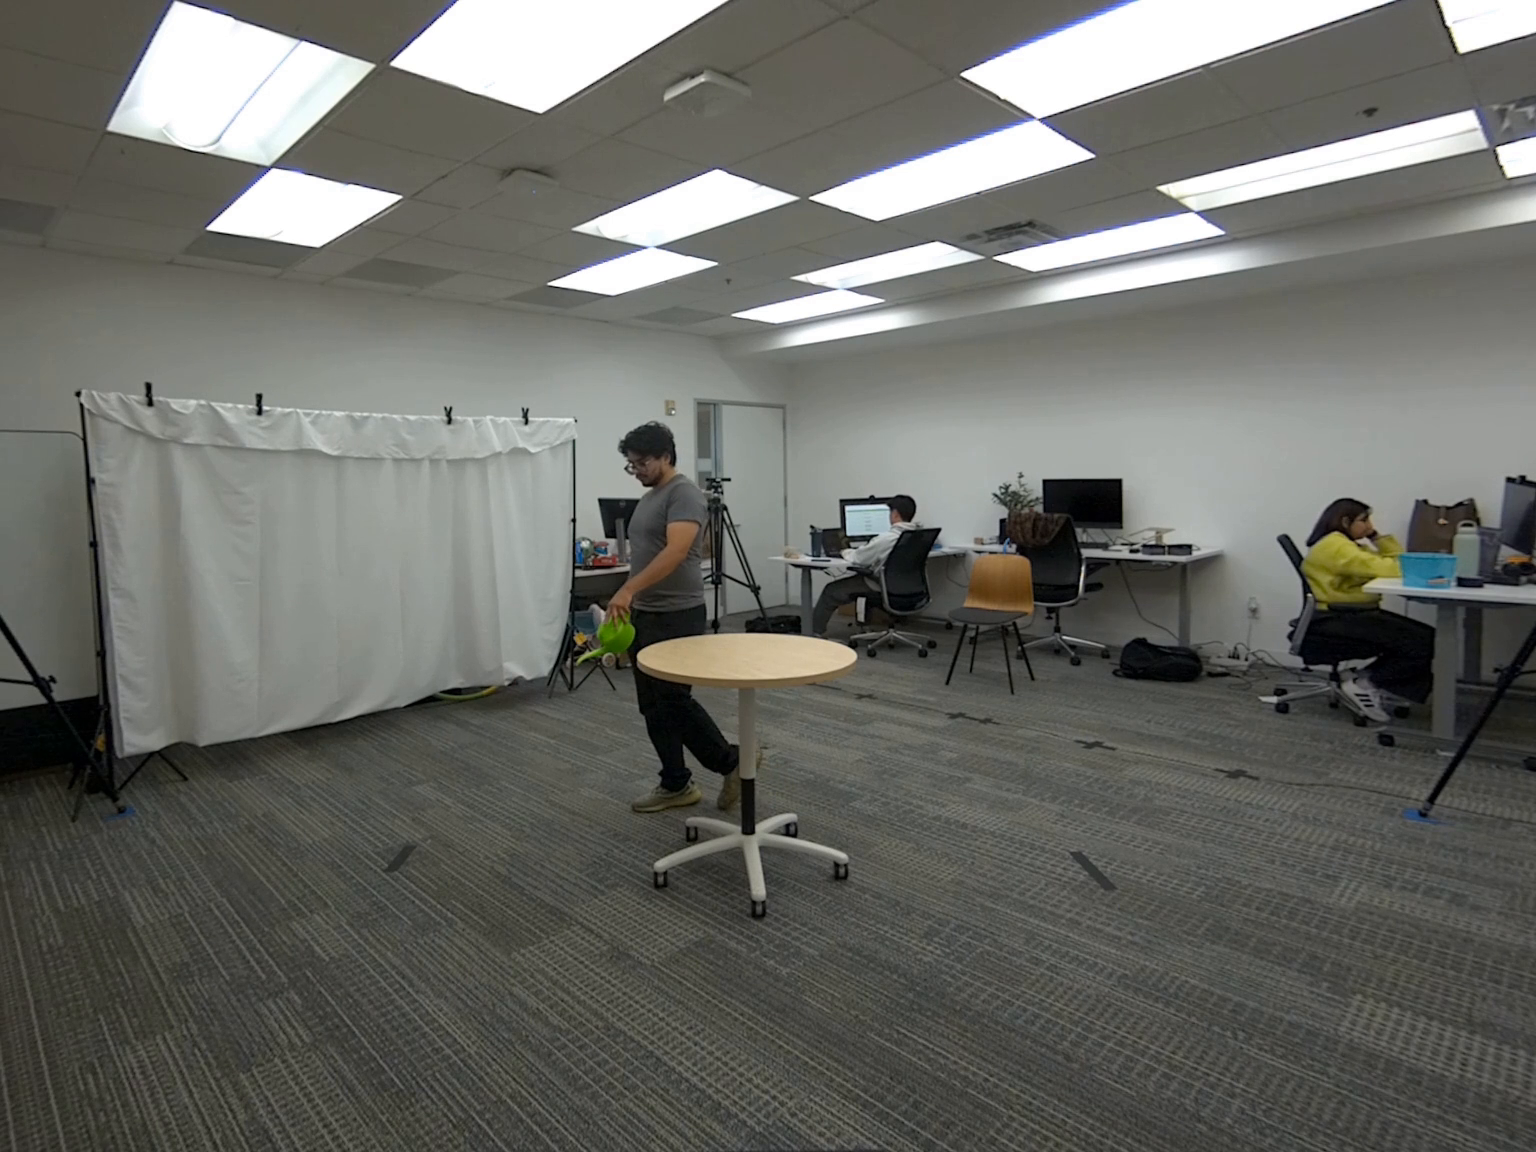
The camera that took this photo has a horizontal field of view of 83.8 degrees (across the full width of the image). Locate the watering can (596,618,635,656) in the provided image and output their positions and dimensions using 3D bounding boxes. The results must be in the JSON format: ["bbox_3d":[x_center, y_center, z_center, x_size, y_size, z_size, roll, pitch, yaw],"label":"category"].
[{"bbox_3d":[-0.632,0.245,3.300,0.278,0.101,0.171,-40,-25,-8],"label":"watering can"}]
